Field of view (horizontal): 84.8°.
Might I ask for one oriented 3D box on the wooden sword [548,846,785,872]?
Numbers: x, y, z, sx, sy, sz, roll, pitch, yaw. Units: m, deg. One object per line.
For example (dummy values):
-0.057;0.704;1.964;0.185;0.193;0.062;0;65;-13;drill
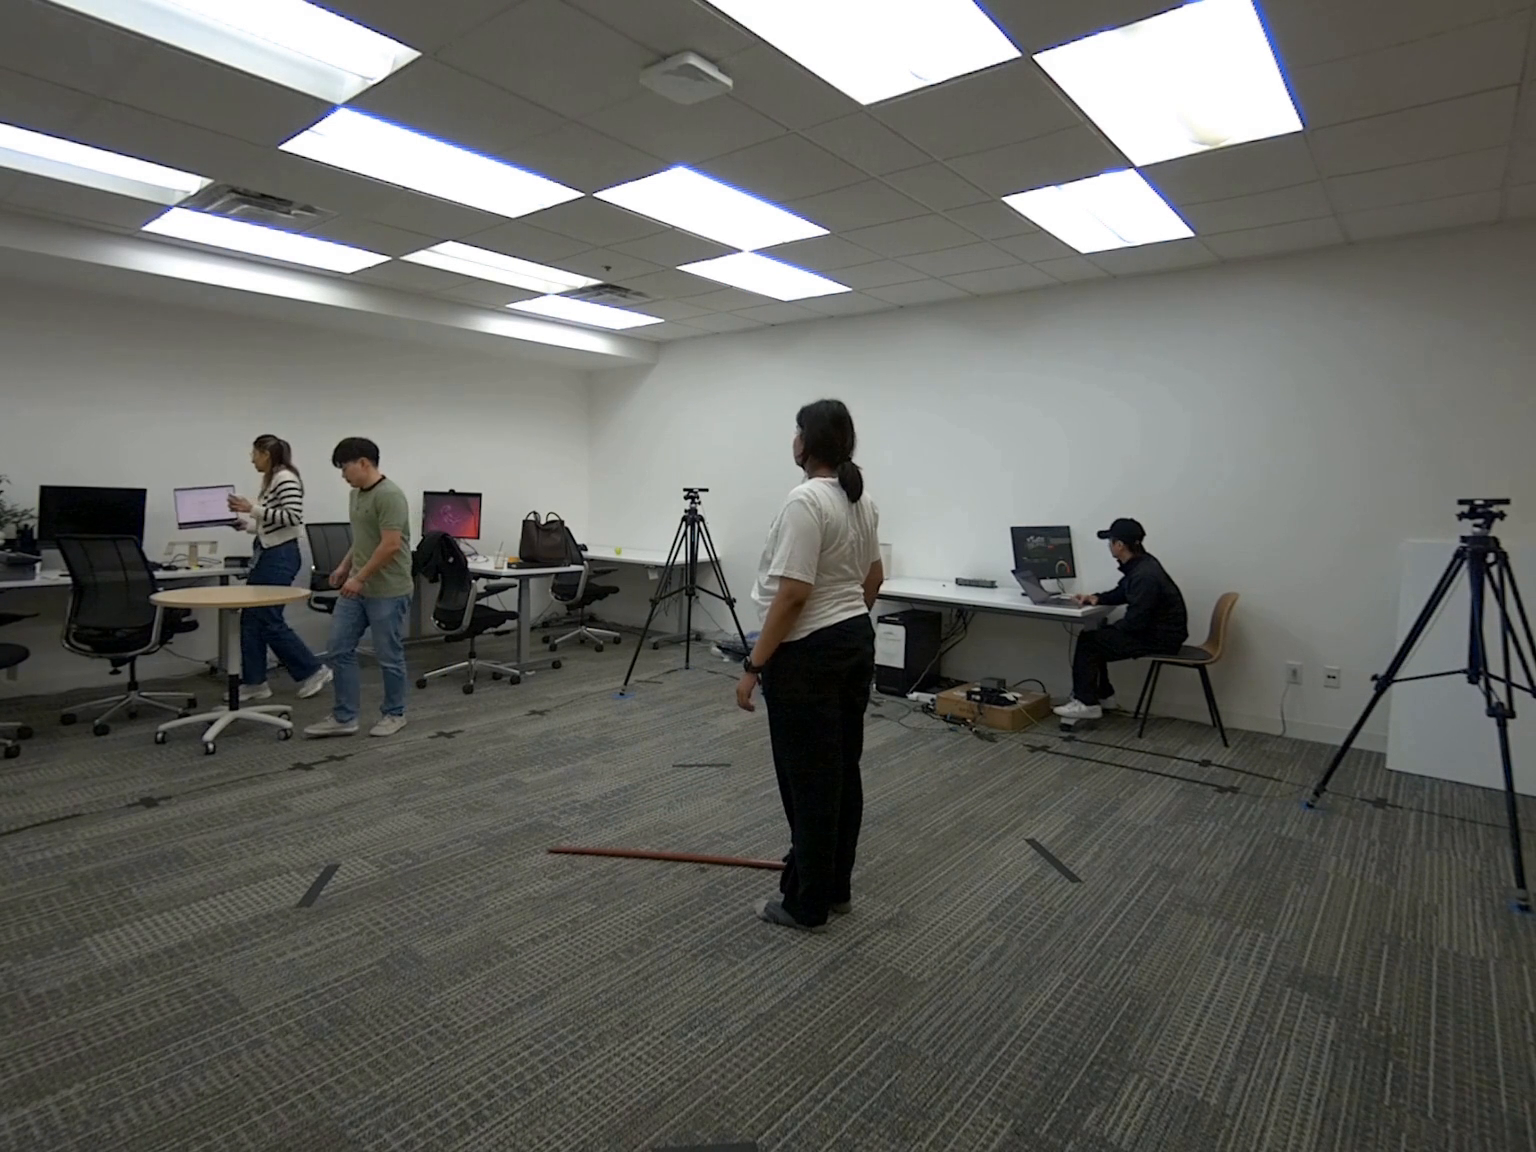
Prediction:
-0.335;1.036;3.174;1.033;0.024;0.050;2;-22;7;wooden sword
